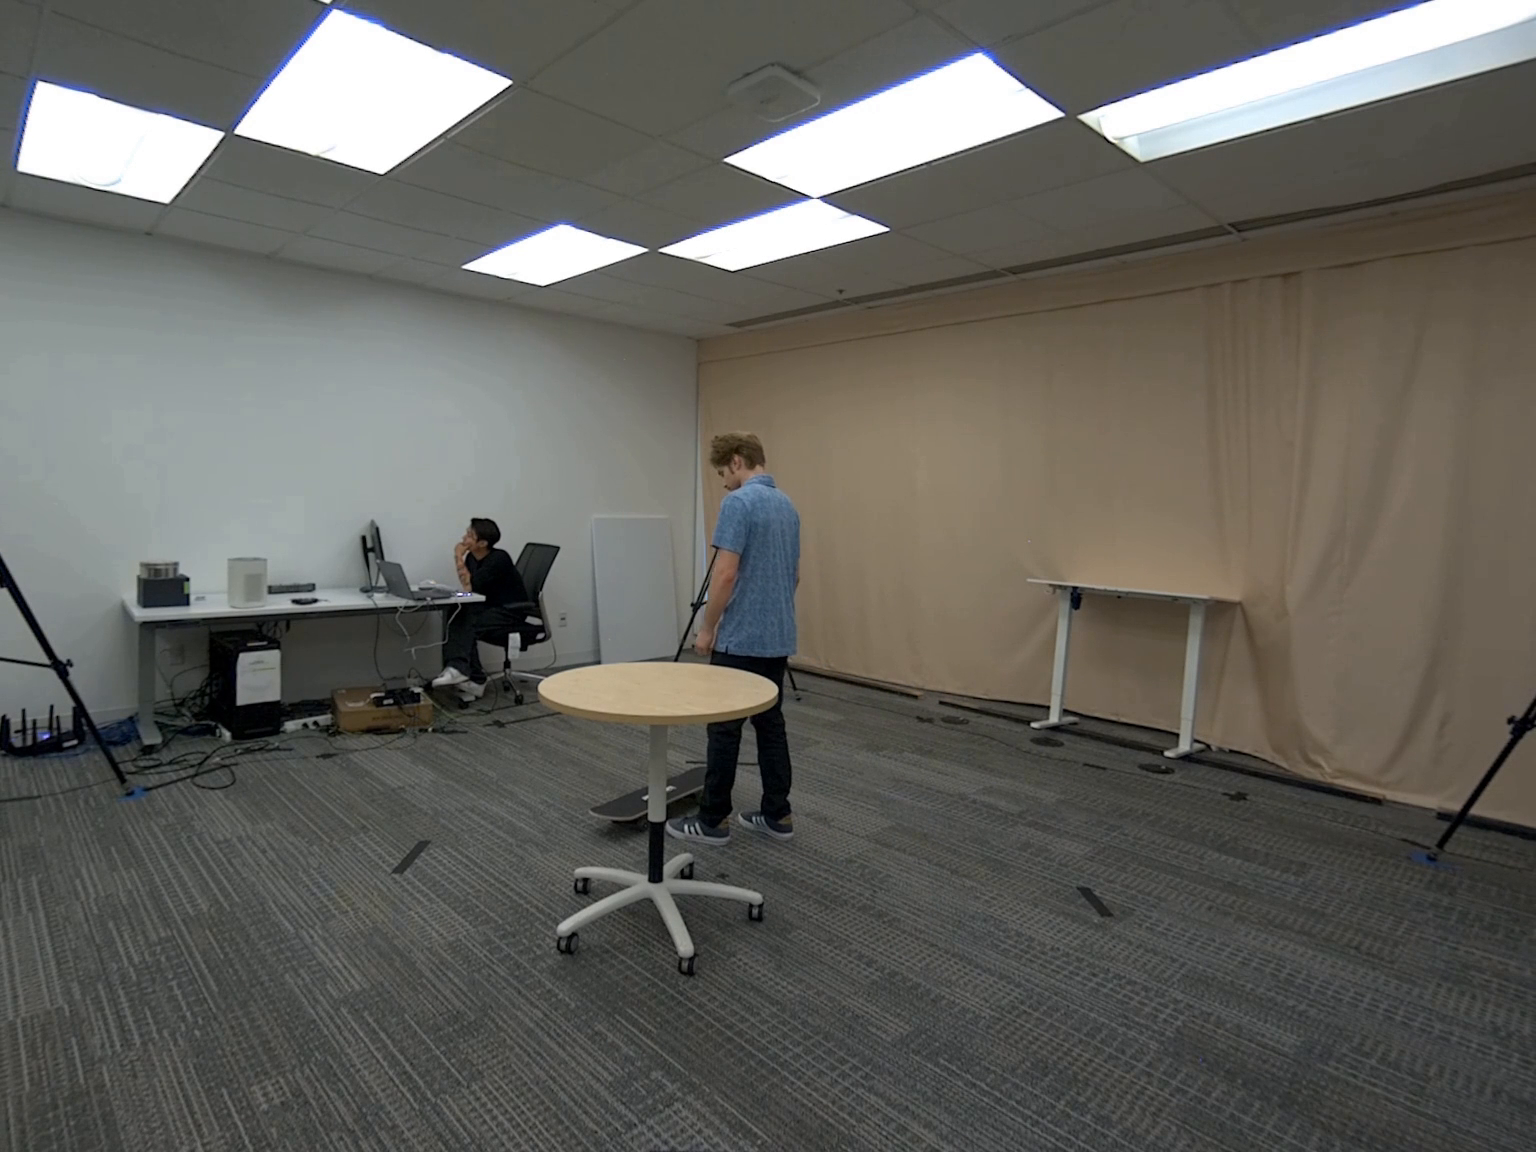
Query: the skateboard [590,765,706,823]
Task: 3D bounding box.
[{"bbox_3d":[-0.486,0.982,3.707,0.198,0.110,0.769,4,5,33],"label":"skateboard"}]
